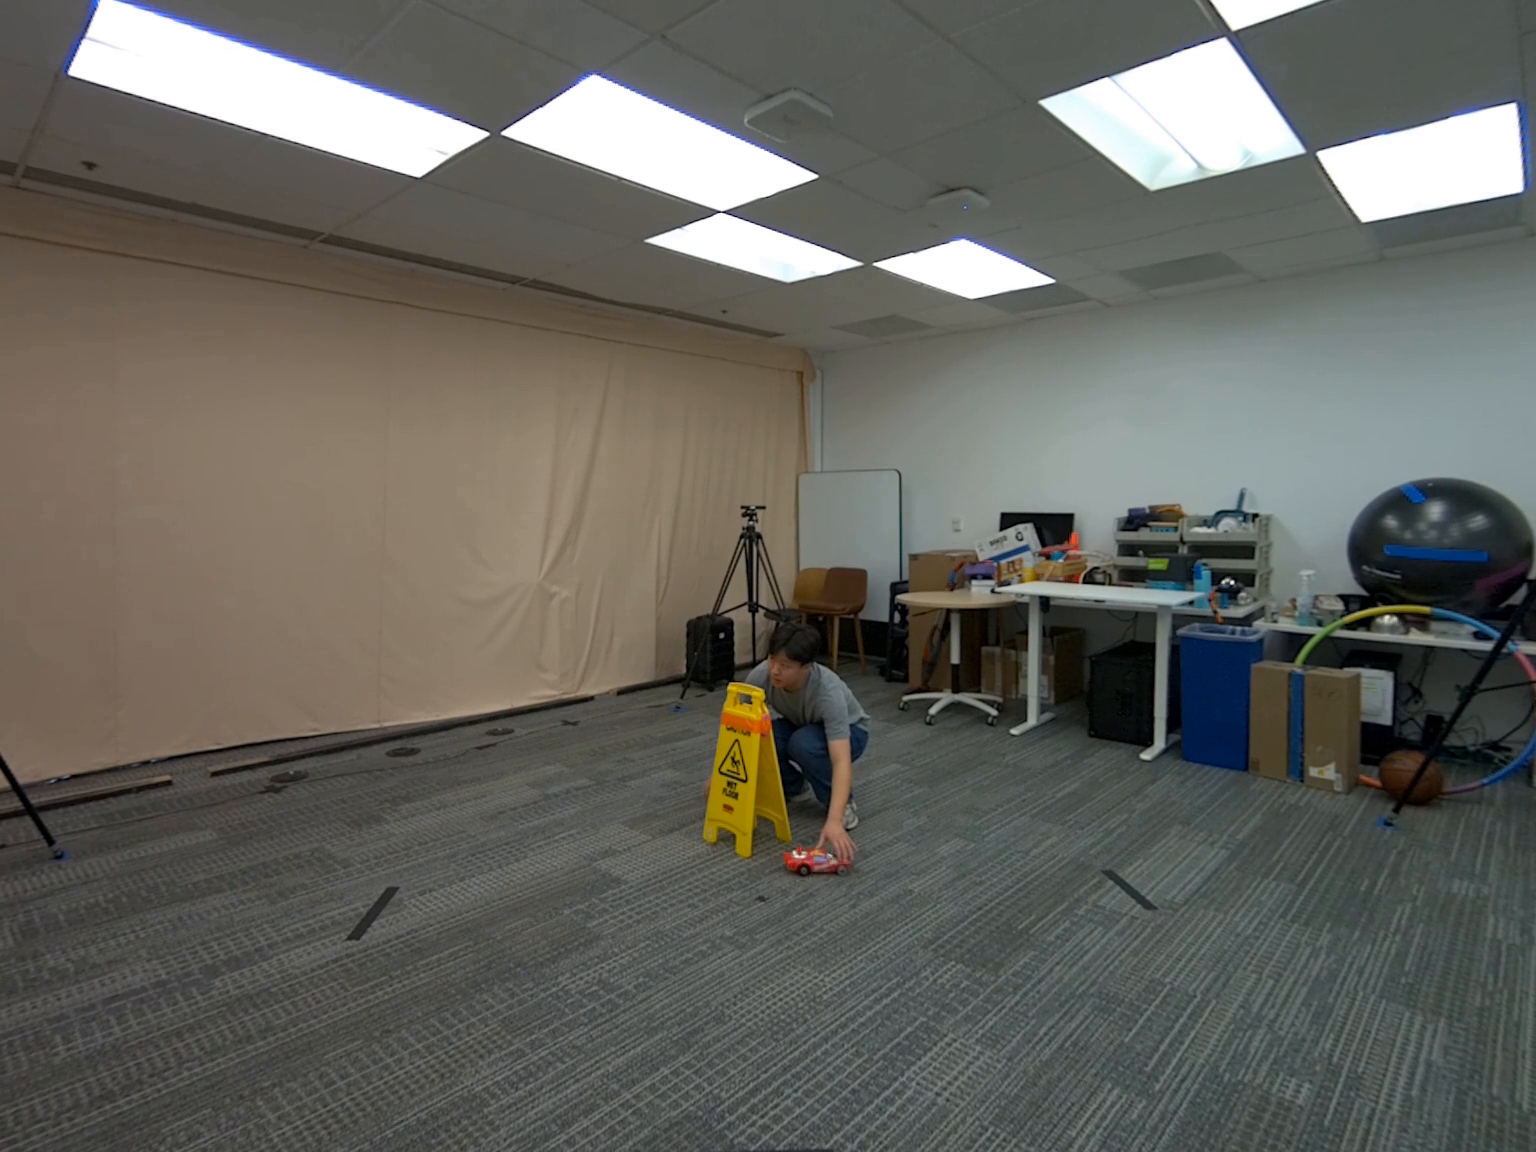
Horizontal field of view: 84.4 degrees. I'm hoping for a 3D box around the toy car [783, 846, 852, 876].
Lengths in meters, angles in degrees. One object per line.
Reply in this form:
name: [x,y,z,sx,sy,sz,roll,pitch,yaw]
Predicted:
toy car: [0.163,1.085,3.225,0.254,0.083,0.131,11,5,-4]
